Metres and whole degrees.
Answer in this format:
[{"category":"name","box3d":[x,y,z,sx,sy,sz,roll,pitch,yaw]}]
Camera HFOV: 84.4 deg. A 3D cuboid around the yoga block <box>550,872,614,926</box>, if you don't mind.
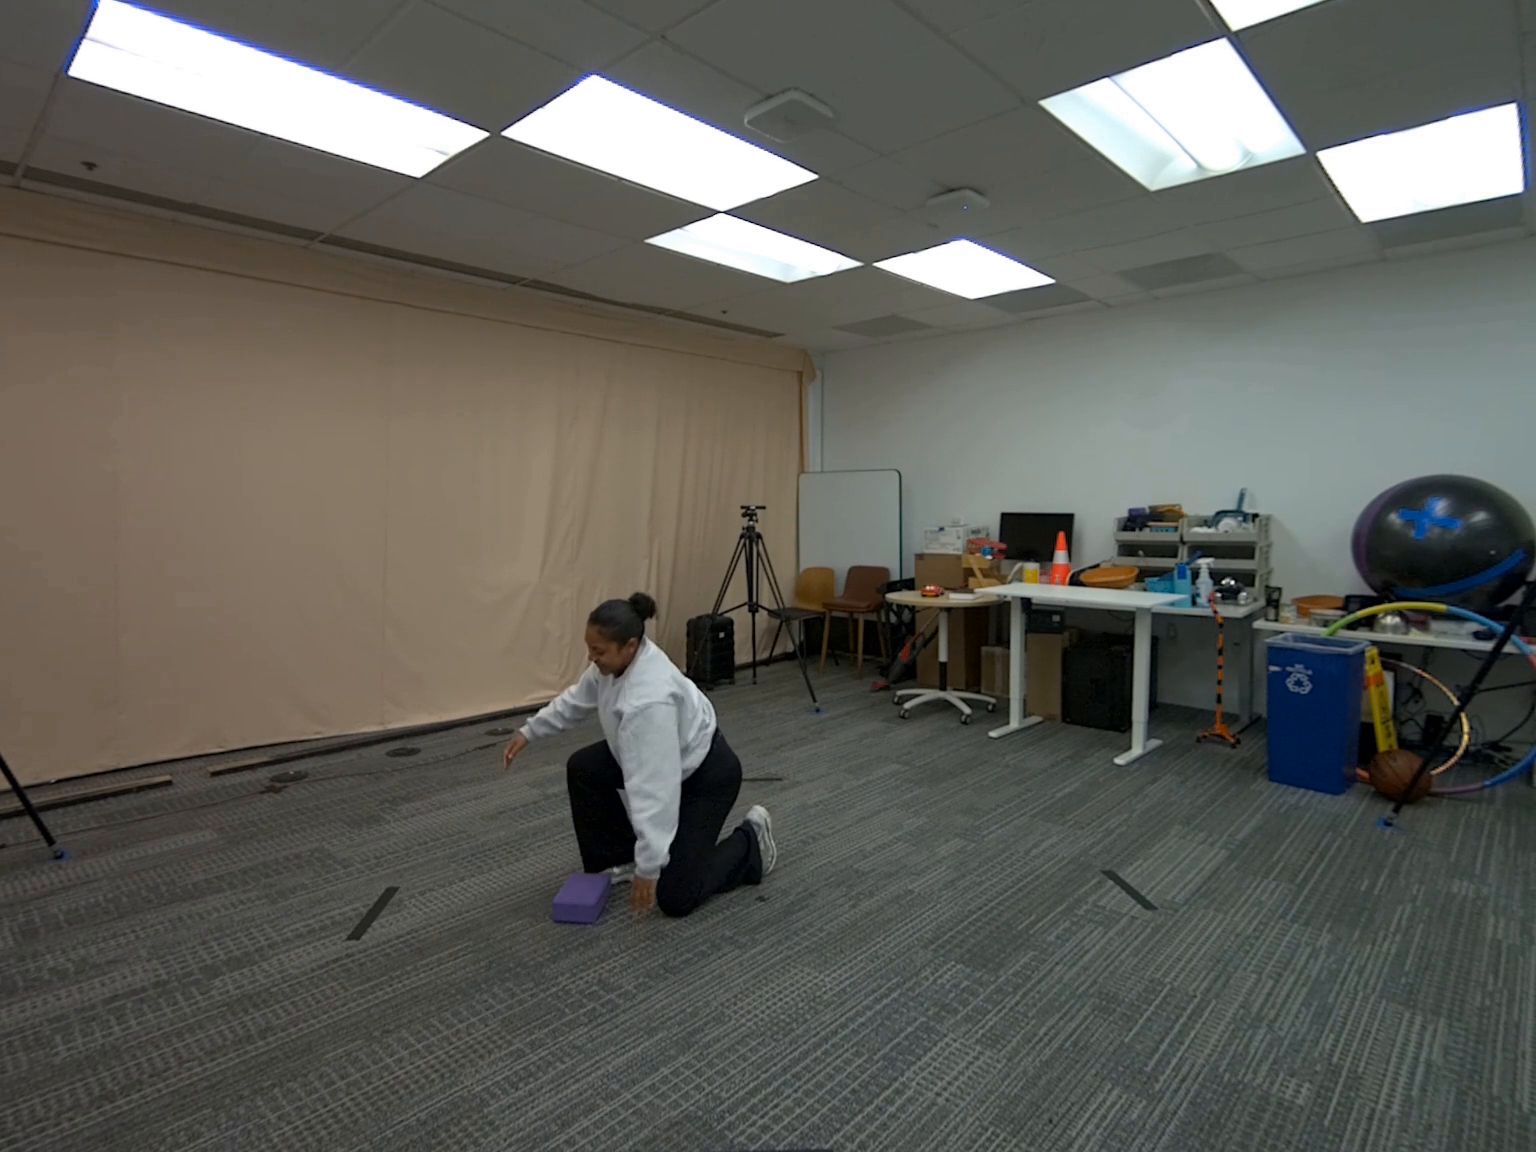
[{"category":"yoga block","box3d":[-0.641,1.110,2.926,0.150,0.076,0.228,1,5,5]}]
